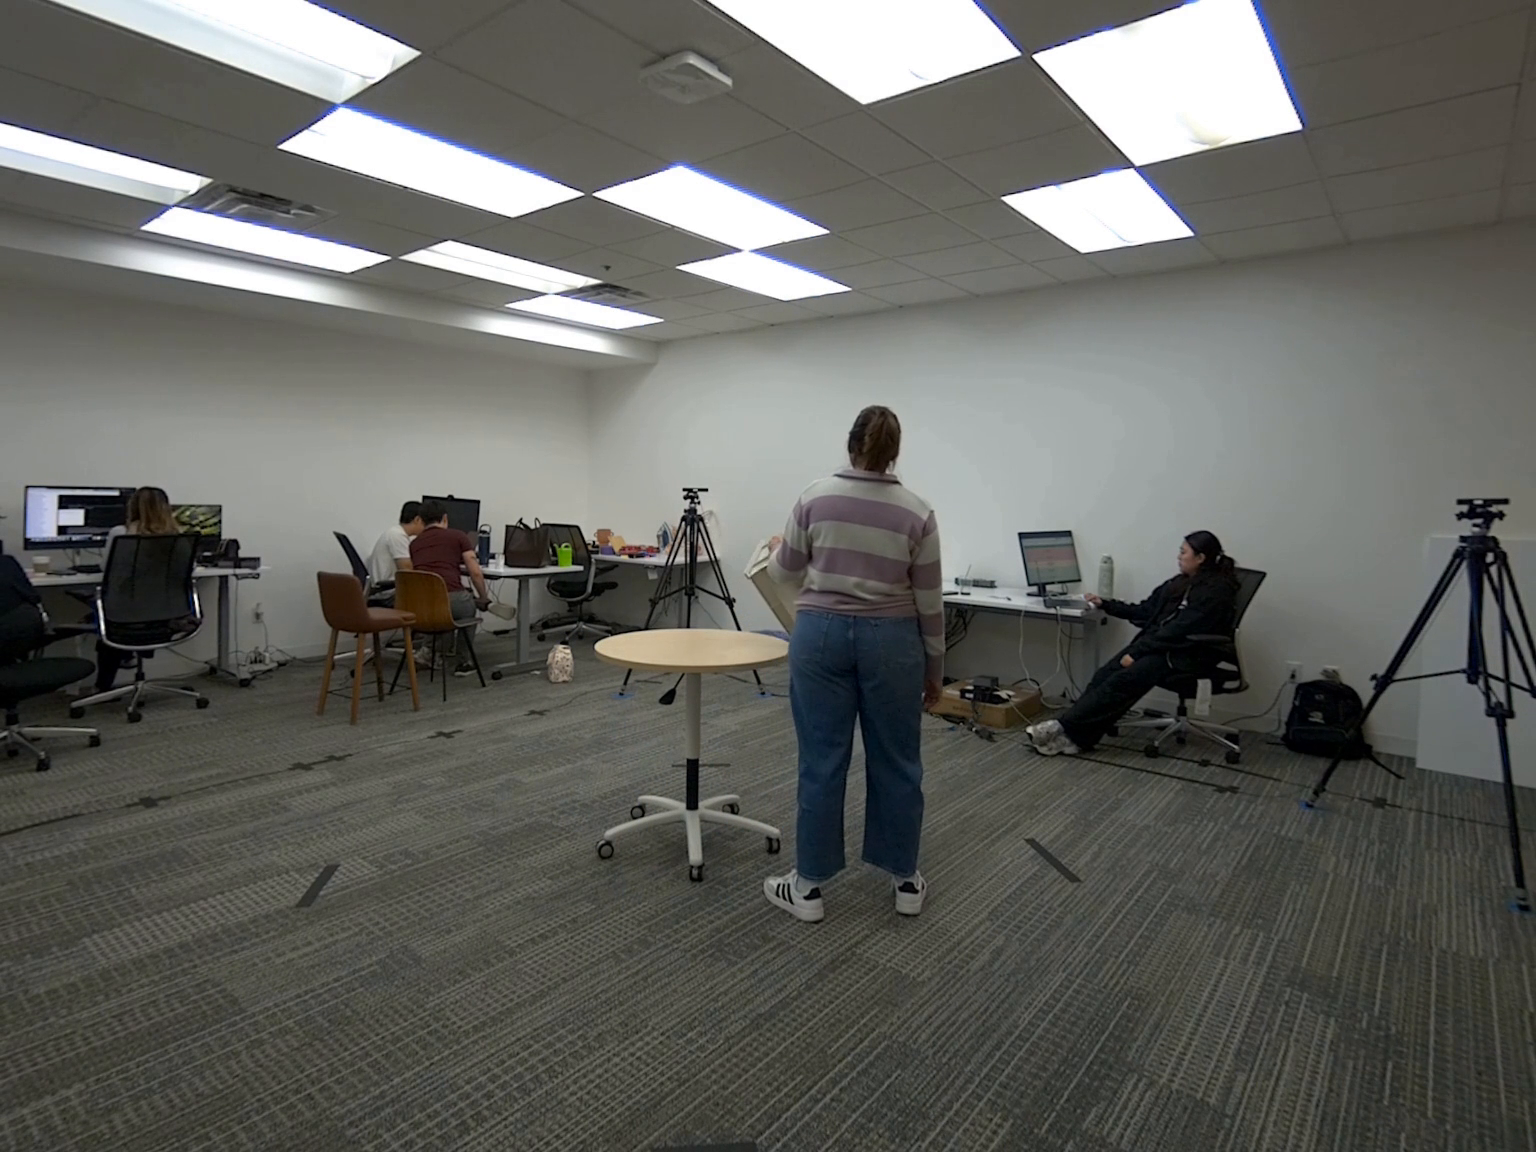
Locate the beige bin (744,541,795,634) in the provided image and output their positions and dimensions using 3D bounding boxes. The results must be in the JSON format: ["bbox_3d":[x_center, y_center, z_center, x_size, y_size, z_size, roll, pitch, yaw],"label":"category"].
[{"bbox_3d":[0.116,0.051,3.387,0.191,0.415,0.381,-31,15,25],"label":"beige bin"}]
